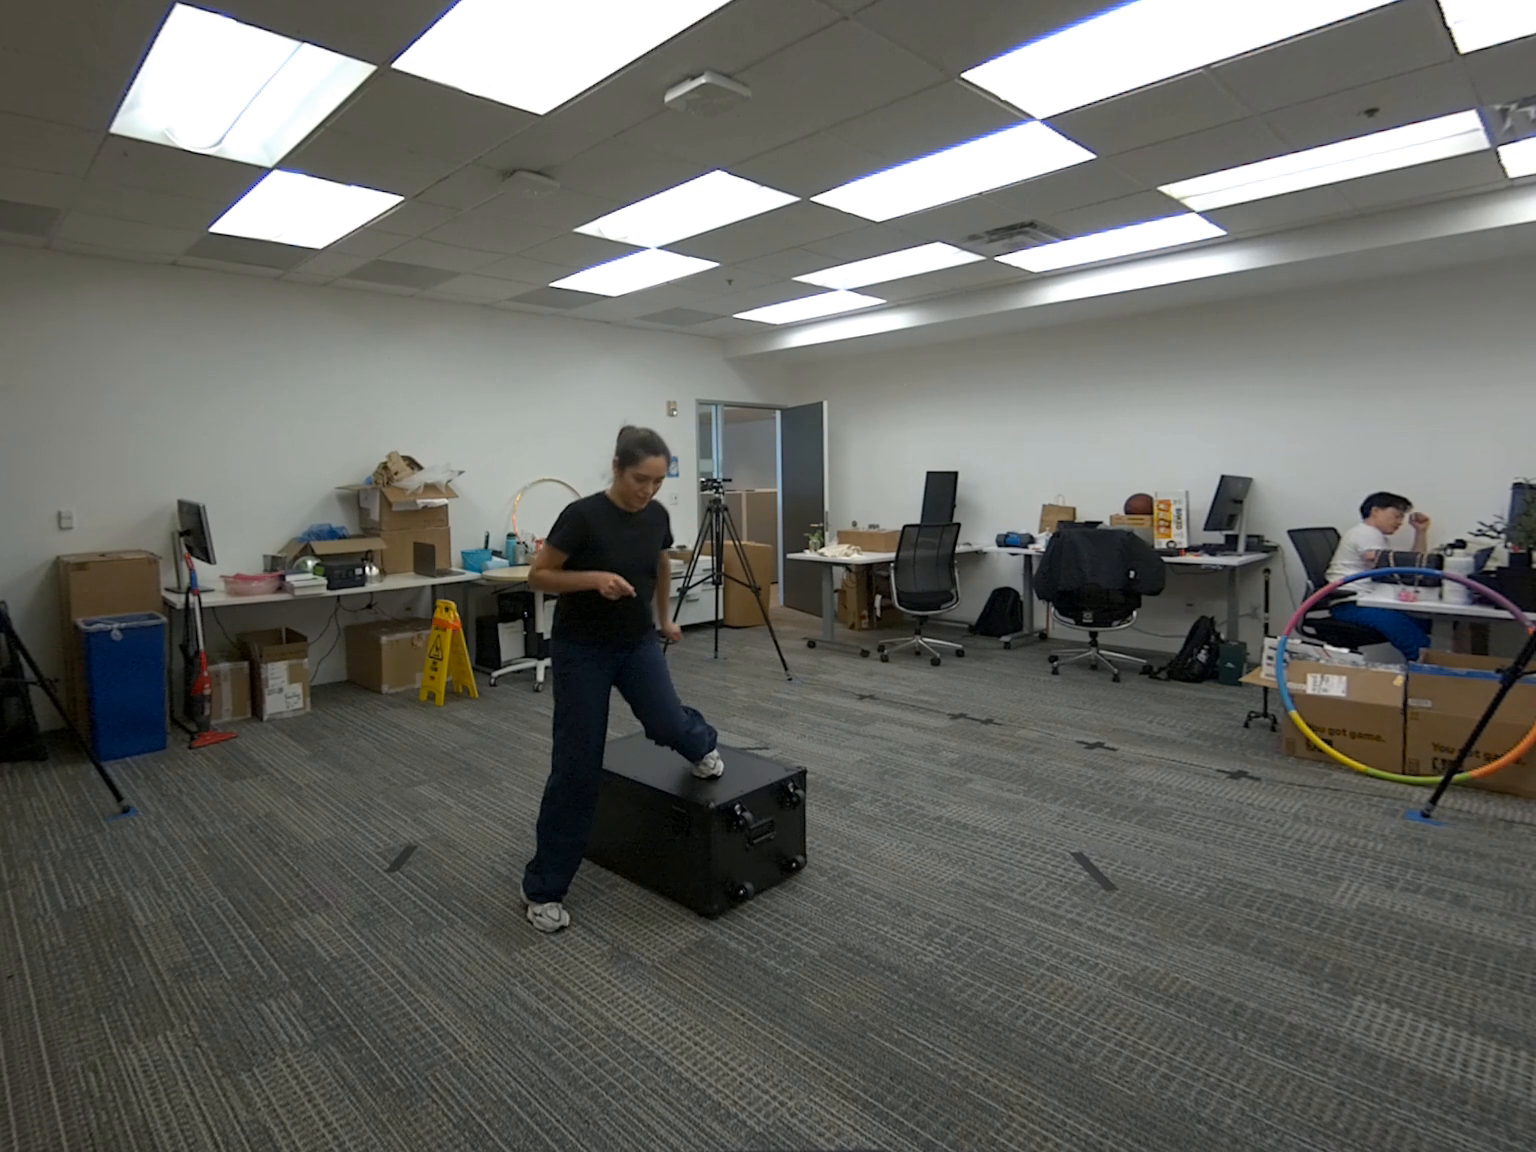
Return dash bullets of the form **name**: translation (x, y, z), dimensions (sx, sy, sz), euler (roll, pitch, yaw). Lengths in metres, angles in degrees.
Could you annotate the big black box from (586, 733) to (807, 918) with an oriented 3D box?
- **big black box**: translation (-0.292, 0.861, 3.112), dimensions (0.888, 0.394, 0.508), euler (4, 8, 42)
